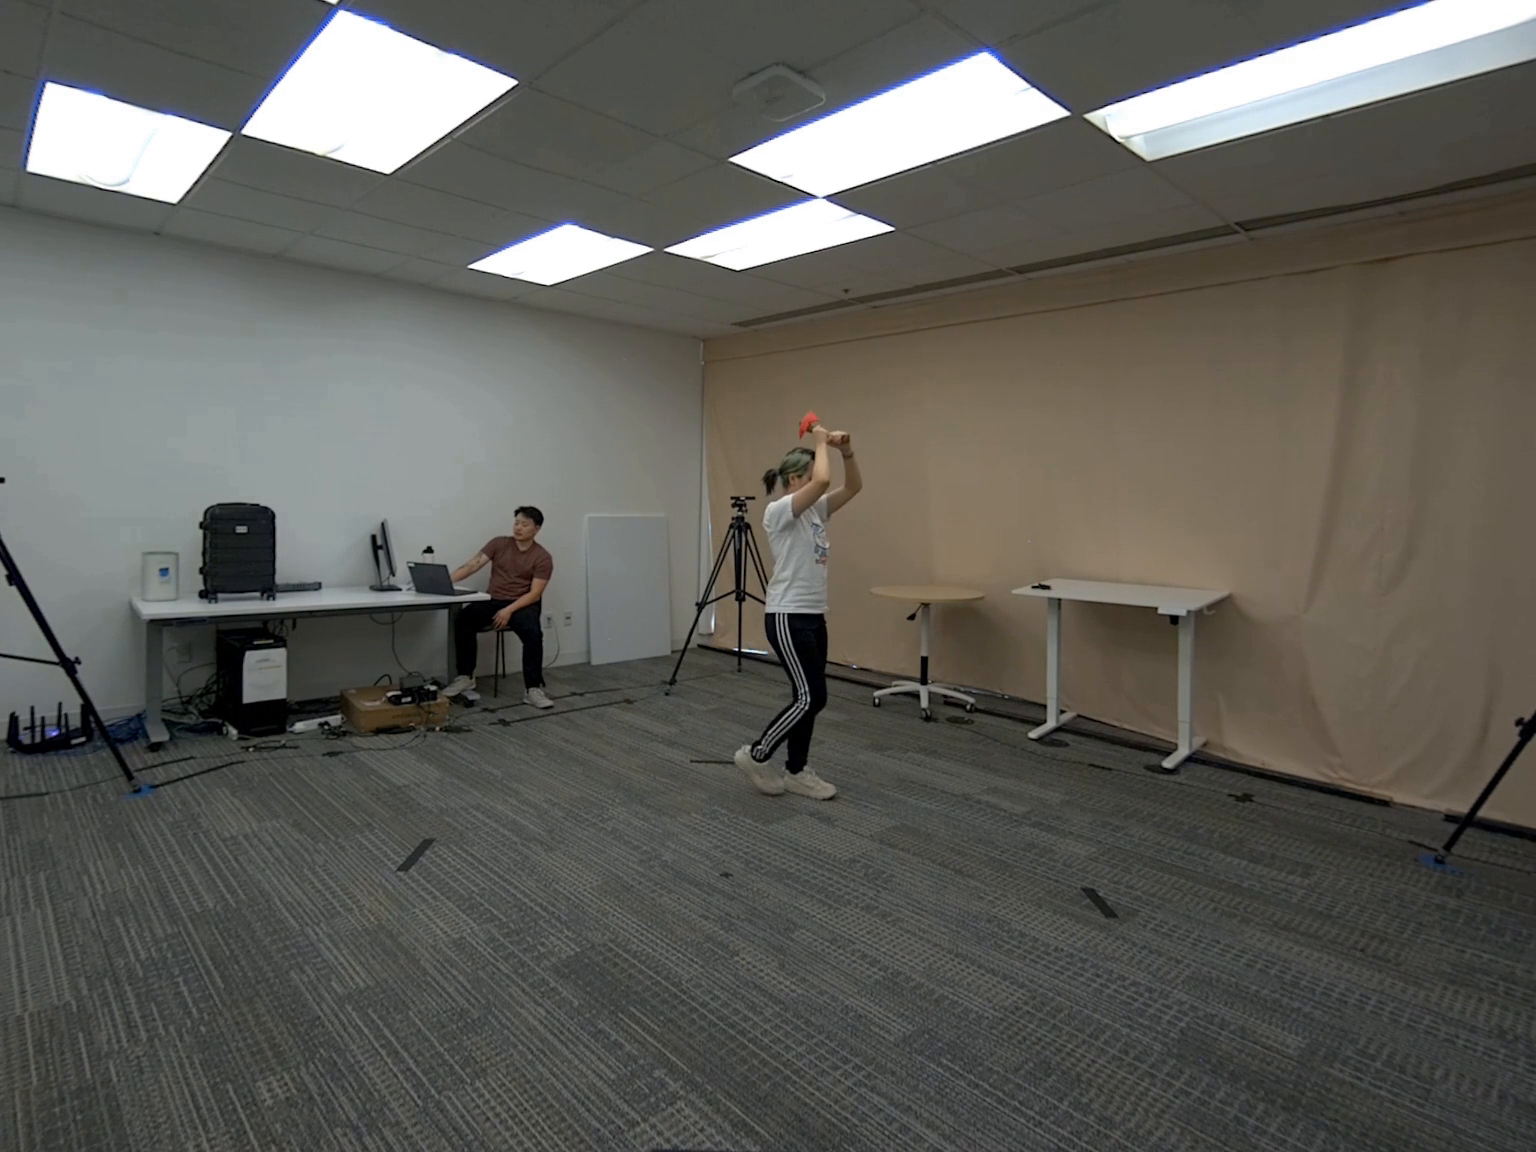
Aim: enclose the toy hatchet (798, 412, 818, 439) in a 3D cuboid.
[{"bbox_3d":[0.252,-0.687,3.854,0.277,0.131,0.029,11,5,32],"label":"toy hatchet"}]
